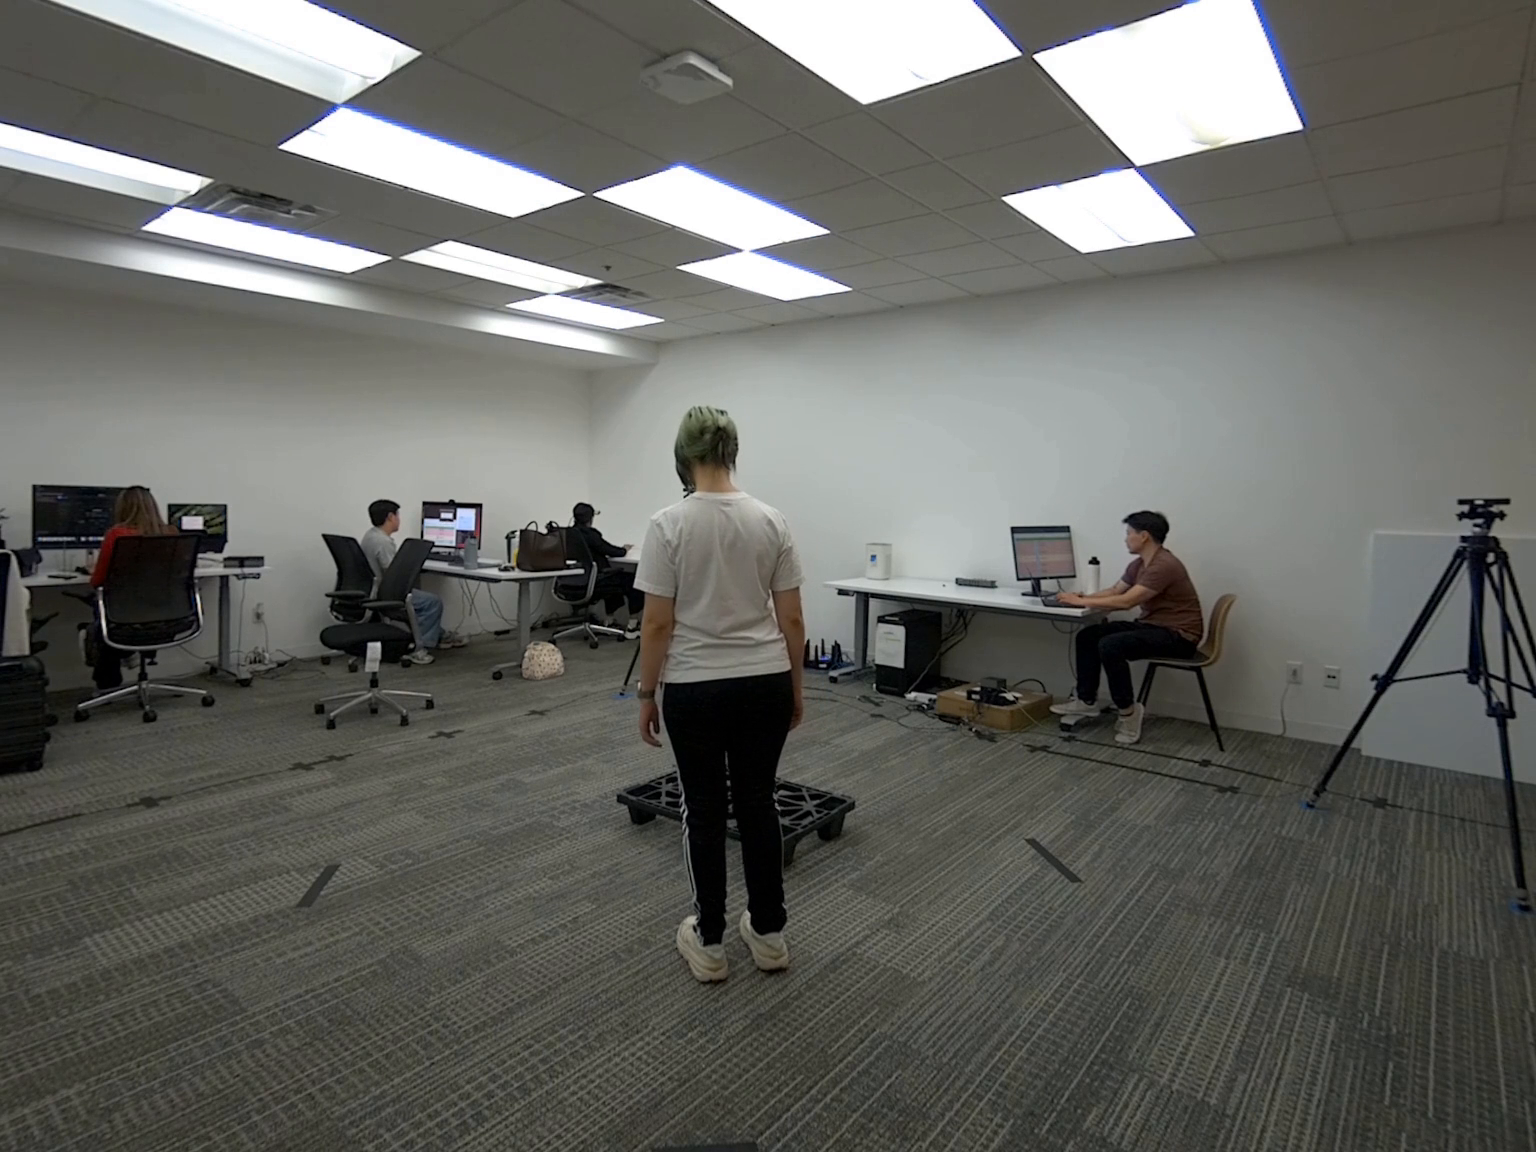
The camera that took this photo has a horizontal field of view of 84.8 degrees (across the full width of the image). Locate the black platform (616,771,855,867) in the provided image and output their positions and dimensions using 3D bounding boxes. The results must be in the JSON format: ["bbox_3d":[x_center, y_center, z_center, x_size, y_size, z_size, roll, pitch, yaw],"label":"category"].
[{"bbox_3d":[-0.141,0.967,3.488,0.832,0.143,0.588,5,7,36],"label":"black platform"}]
